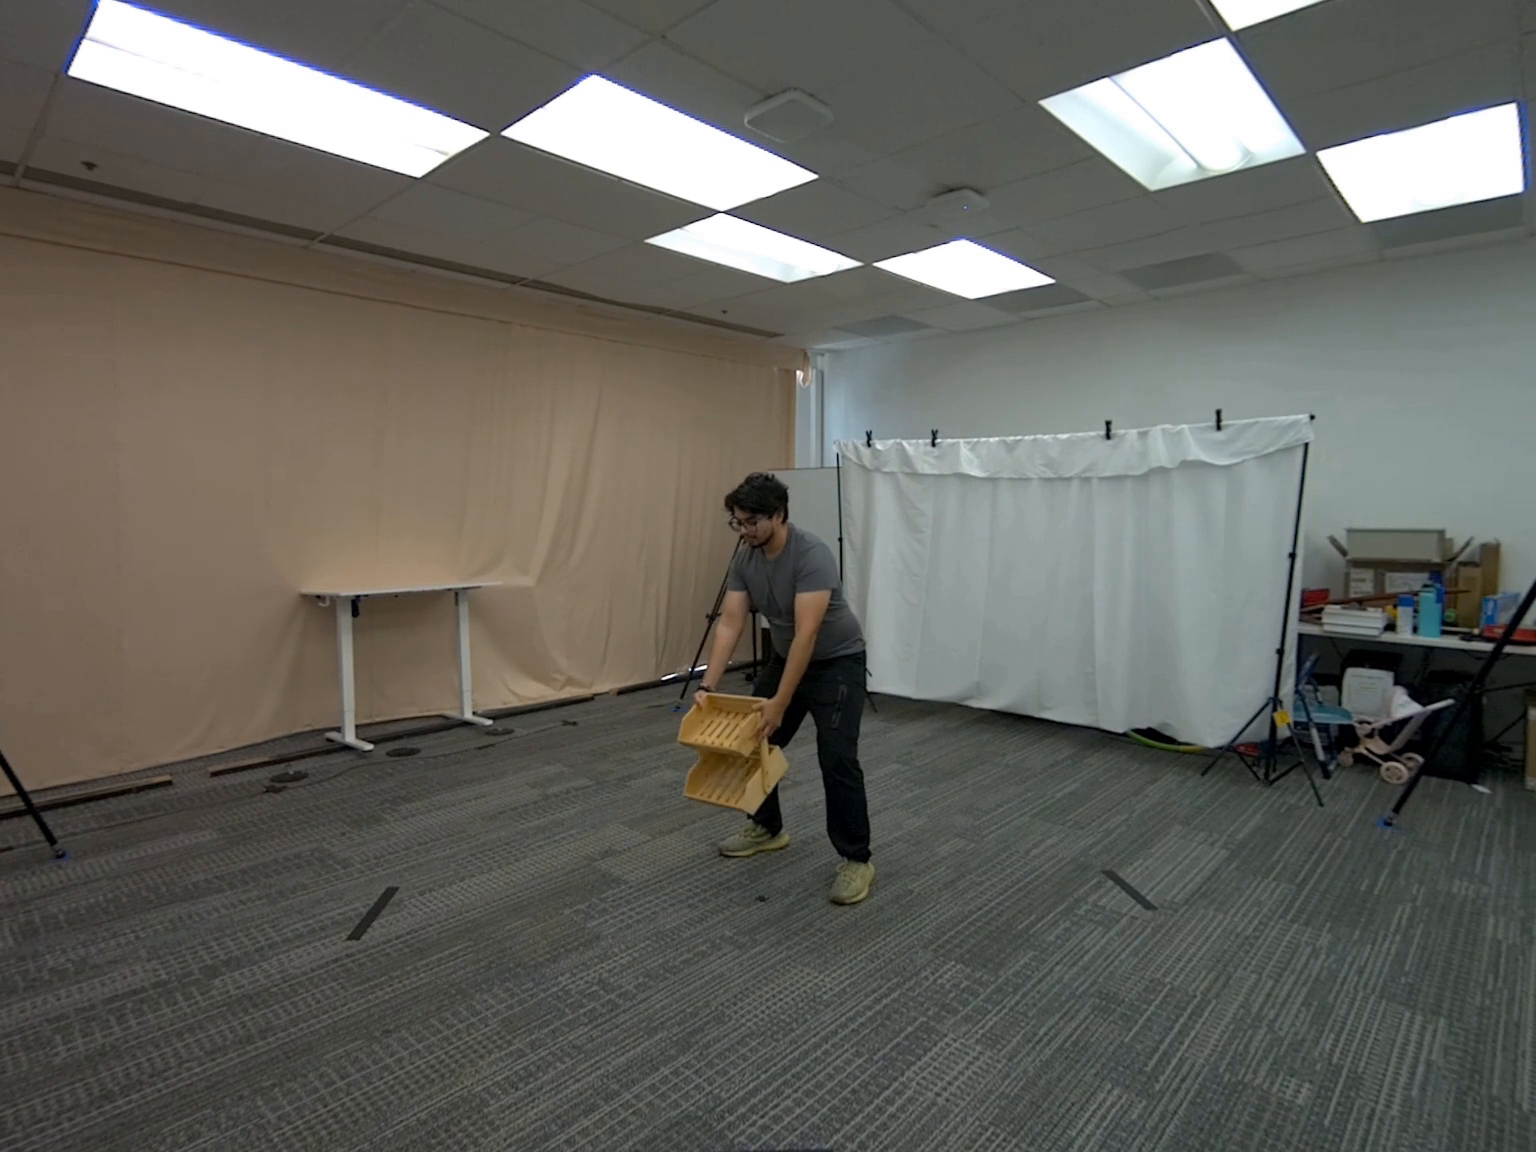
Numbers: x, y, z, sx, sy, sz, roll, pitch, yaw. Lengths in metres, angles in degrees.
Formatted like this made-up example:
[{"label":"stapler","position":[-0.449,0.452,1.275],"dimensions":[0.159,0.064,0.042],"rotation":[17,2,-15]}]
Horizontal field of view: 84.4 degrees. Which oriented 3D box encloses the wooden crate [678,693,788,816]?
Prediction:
[{"label":"wooden crate","position":[-0.143,0.608,2.921],"dimensions":[0.334,0.268,0.299],"rotation":[-4,31,44]}]
